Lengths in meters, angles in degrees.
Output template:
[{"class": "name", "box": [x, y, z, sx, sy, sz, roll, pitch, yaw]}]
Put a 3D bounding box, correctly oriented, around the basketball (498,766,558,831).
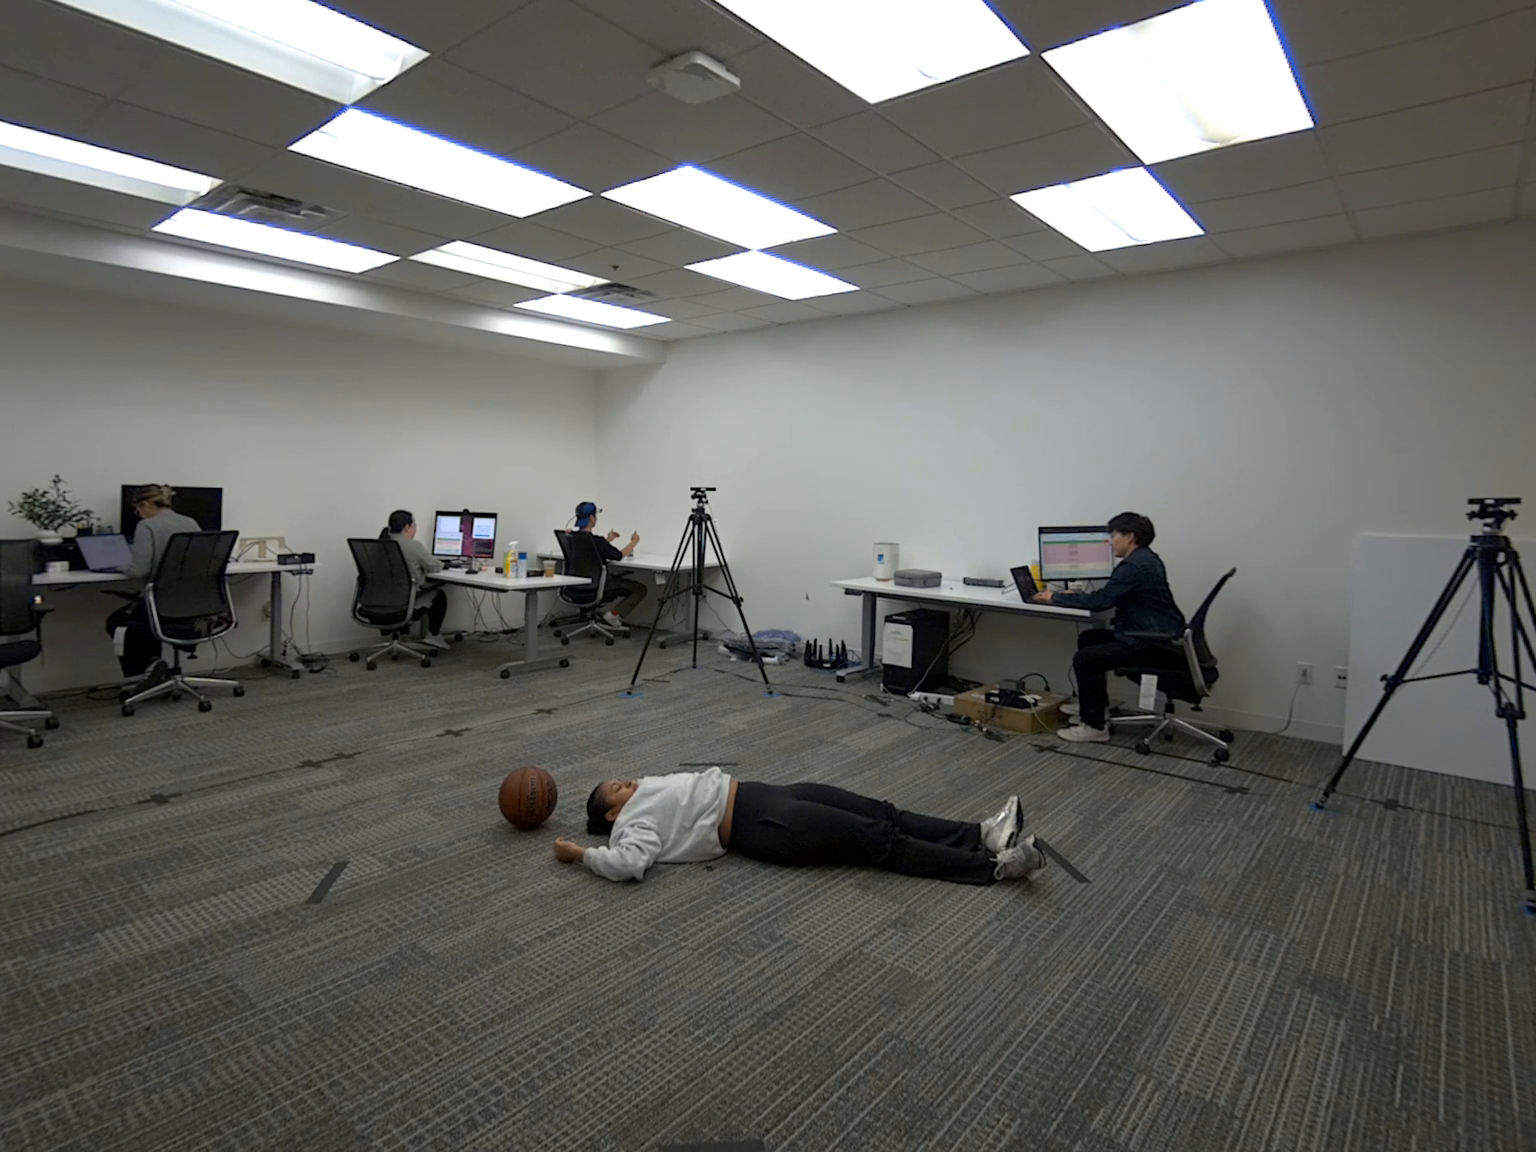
[{"class": "basketball", "box": [-0.990, 0.897, 3.471, 0.236, 0.235, 0.237, 0, 4, -2]}]
